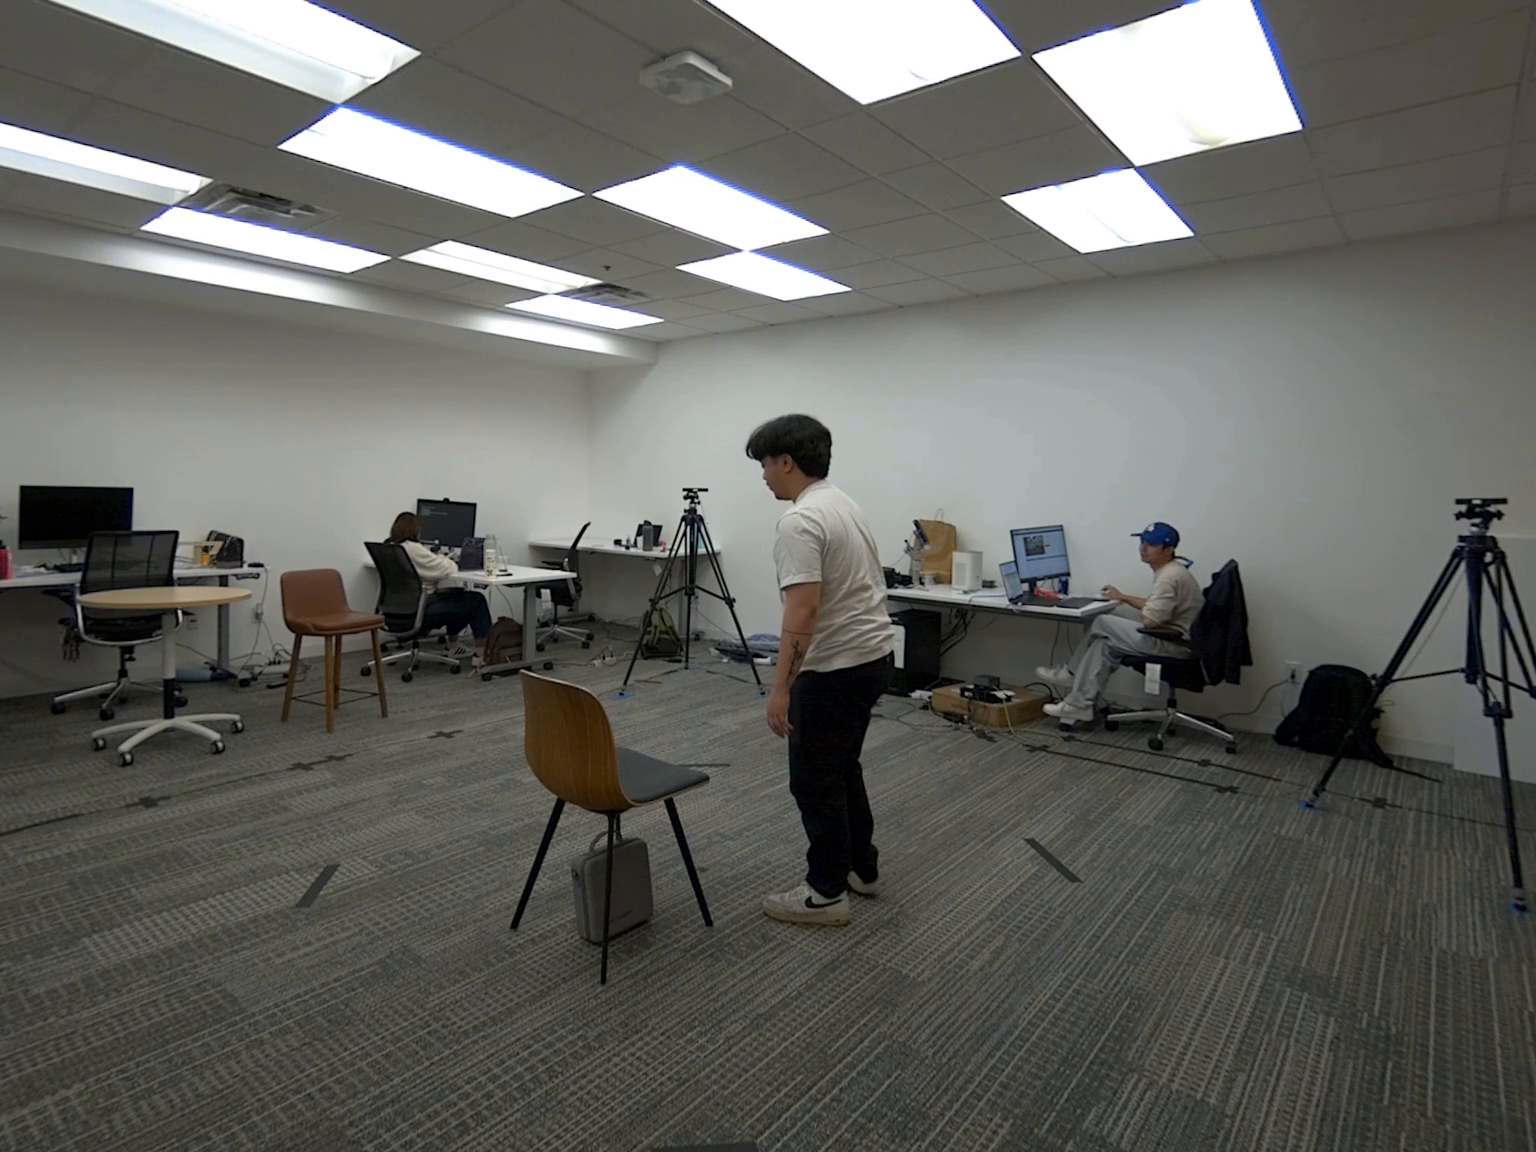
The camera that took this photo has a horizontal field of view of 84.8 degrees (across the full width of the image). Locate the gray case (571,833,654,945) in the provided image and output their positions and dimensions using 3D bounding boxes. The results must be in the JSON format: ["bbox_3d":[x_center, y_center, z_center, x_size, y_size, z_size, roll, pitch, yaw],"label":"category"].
[{"bbox_3d":[-0.498,0.980,2.677,0.107,0.261,0.249,-9,-4,44],"label":"gray case"}]
